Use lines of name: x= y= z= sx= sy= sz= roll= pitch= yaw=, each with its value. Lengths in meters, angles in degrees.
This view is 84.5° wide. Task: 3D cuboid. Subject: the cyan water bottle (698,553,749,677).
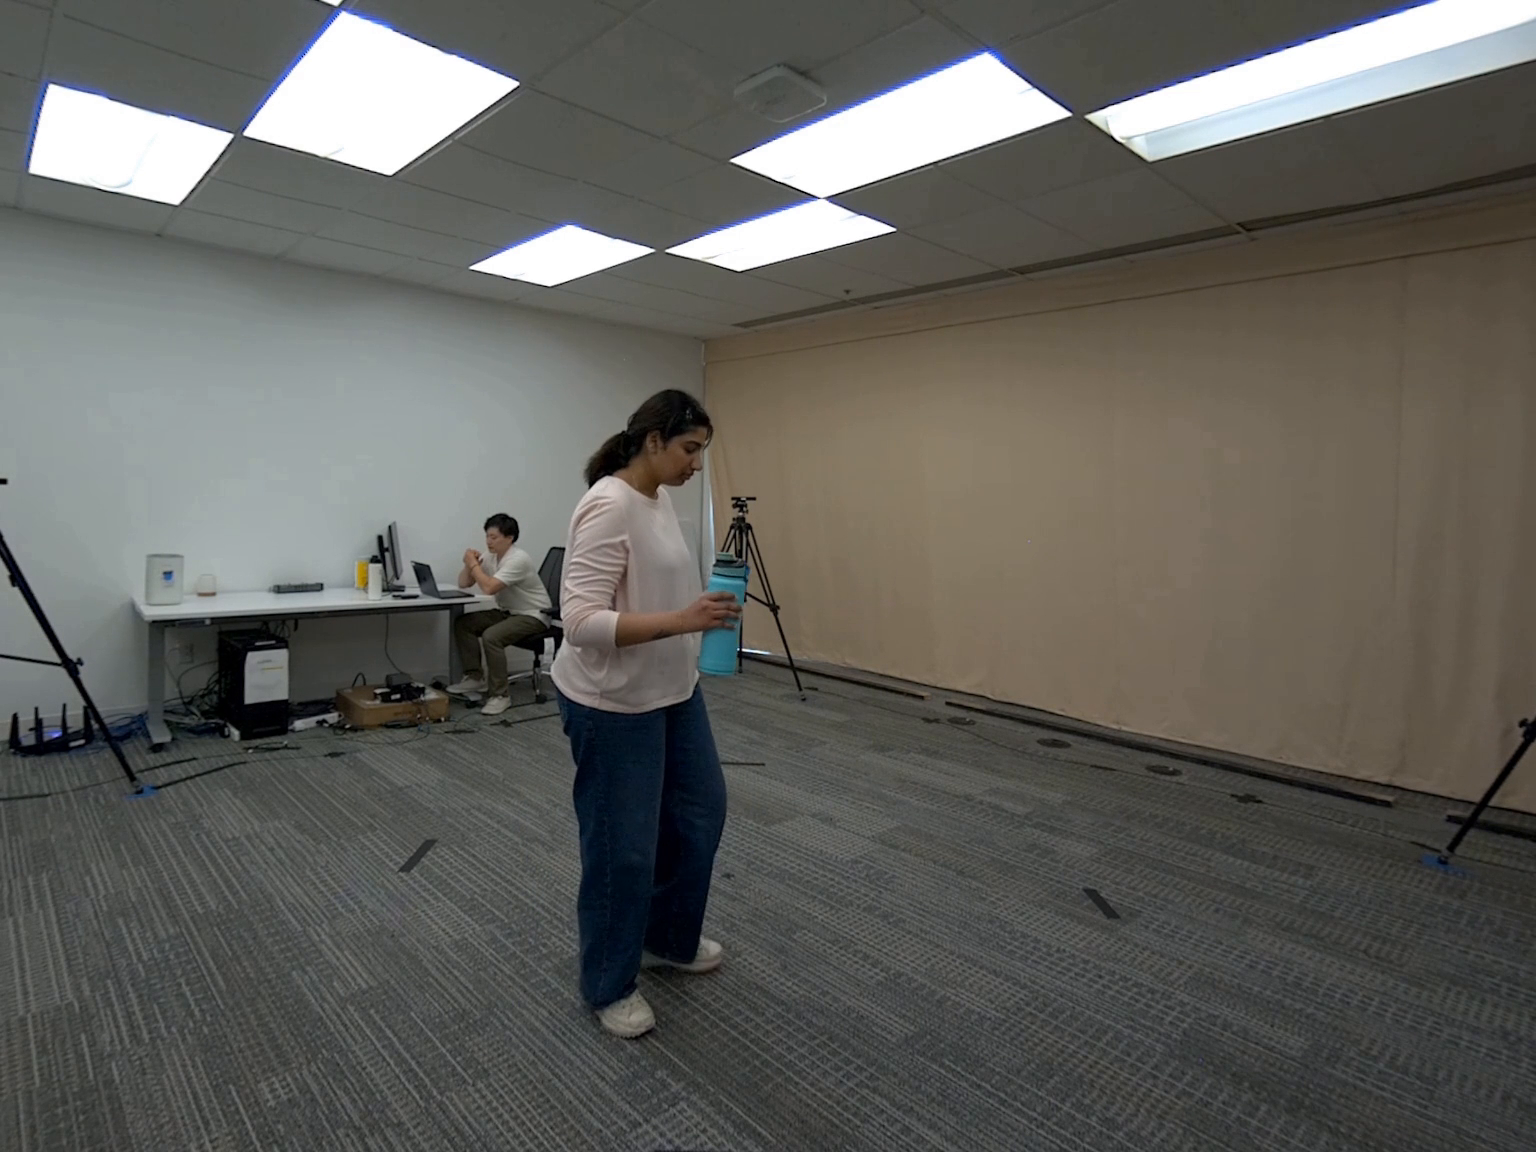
cyan water bottle: x=-0.109 y=0.087 z=1.986 sx=0.092 sy=0.283 sz=0.092 roll=9 pitch=0 yaw=-2
